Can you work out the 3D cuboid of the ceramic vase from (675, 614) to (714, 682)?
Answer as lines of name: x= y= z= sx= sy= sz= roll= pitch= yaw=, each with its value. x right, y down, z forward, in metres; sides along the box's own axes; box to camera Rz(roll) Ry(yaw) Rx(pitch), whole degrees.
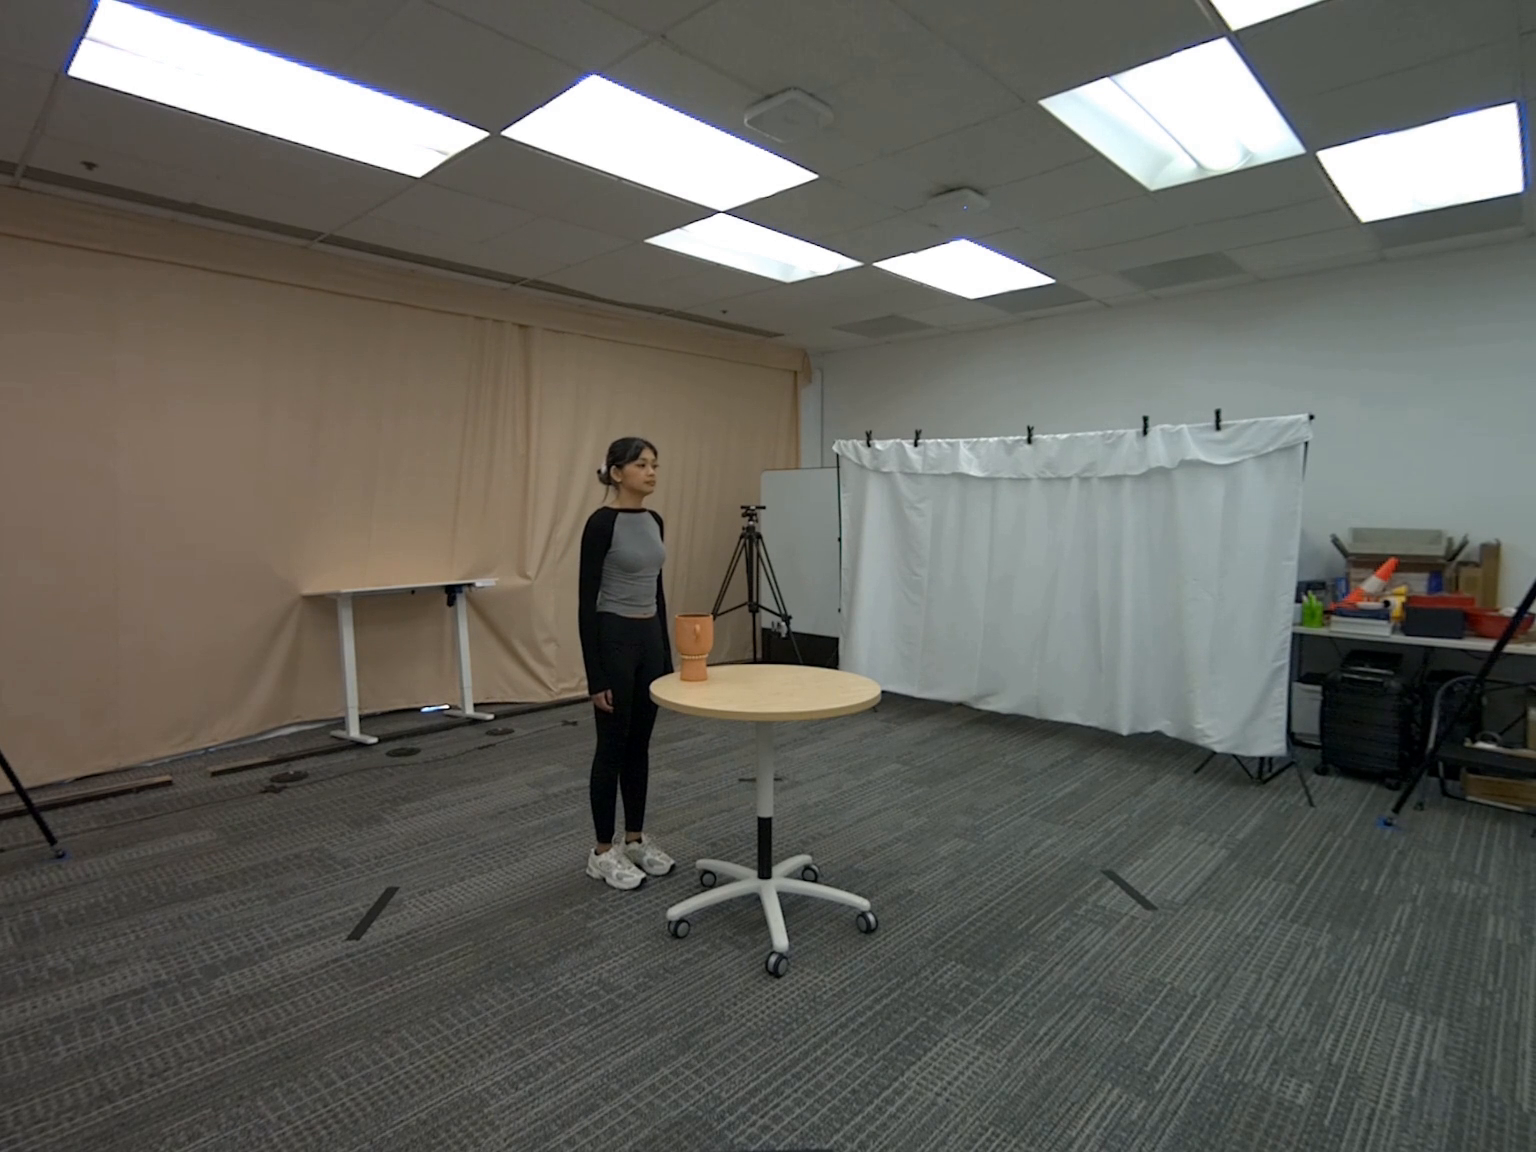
ceramic vase: x=-0.256 y=0.249 z=2.912 sx=0.138 sy=0.219 sz=0.155 roll=1 pitch=5 yaw=27
